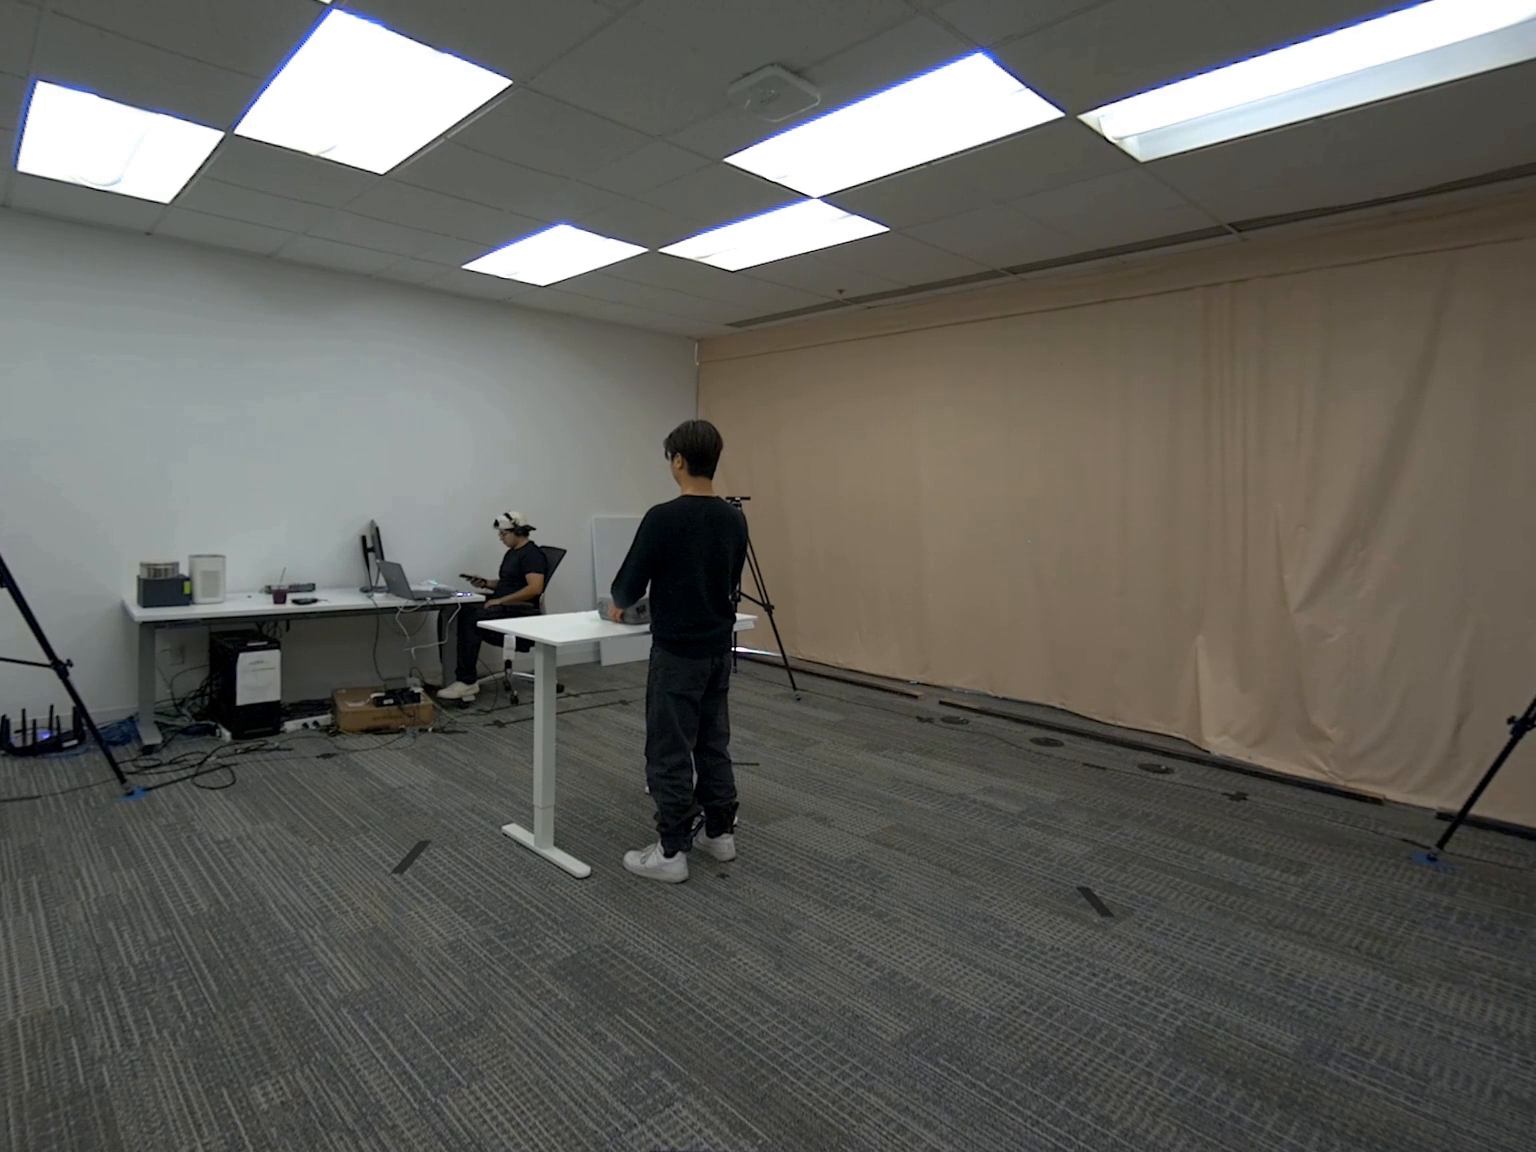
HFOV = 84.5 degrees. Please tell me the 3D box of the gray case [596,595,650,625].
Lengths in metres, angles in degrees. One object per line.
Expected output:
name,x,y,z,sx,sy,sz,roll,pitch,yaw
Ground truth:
gray case,-0.544,0.113,3.490,0.267,0.103,0.253,5,15,40
